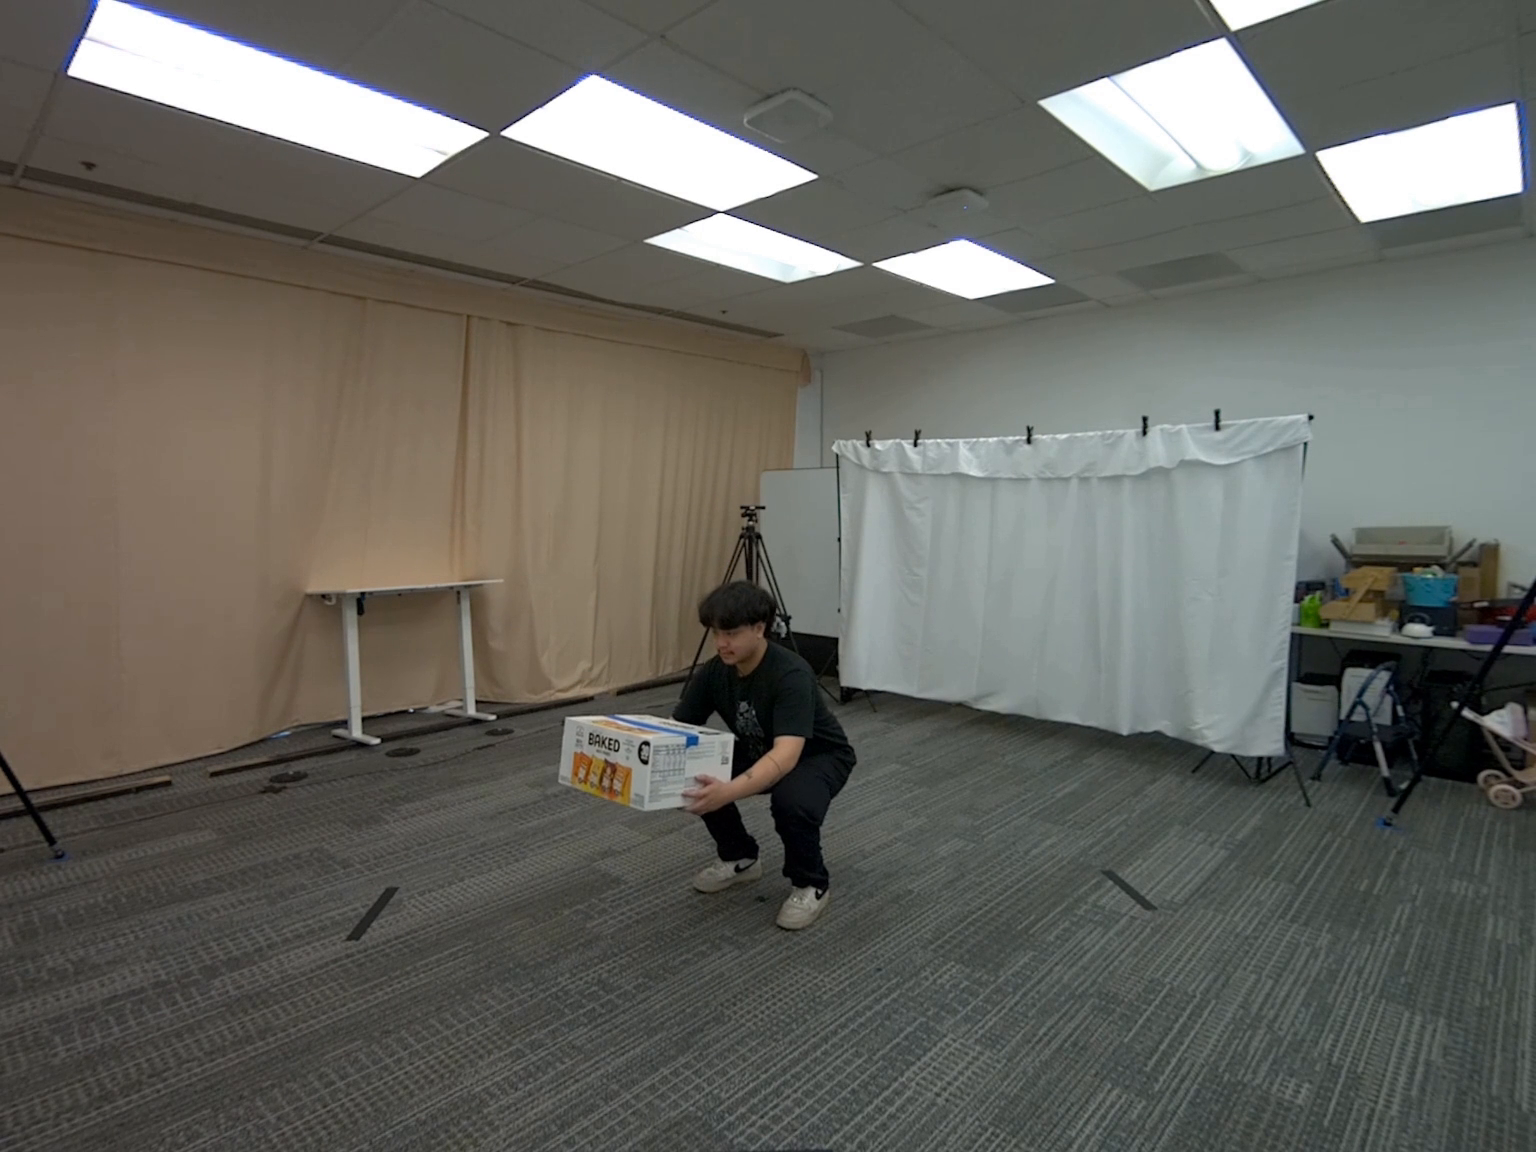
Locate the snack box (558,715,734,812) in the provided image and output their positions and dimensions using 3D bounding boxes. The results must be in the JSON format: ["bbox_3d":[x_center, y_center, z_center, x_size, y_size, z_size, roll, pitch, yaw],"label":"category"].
[{"bbox_3d":[-0.370,0.561,2.577,0.418,0.206,0.328,2,-4,43],"label":"snack box"}]
